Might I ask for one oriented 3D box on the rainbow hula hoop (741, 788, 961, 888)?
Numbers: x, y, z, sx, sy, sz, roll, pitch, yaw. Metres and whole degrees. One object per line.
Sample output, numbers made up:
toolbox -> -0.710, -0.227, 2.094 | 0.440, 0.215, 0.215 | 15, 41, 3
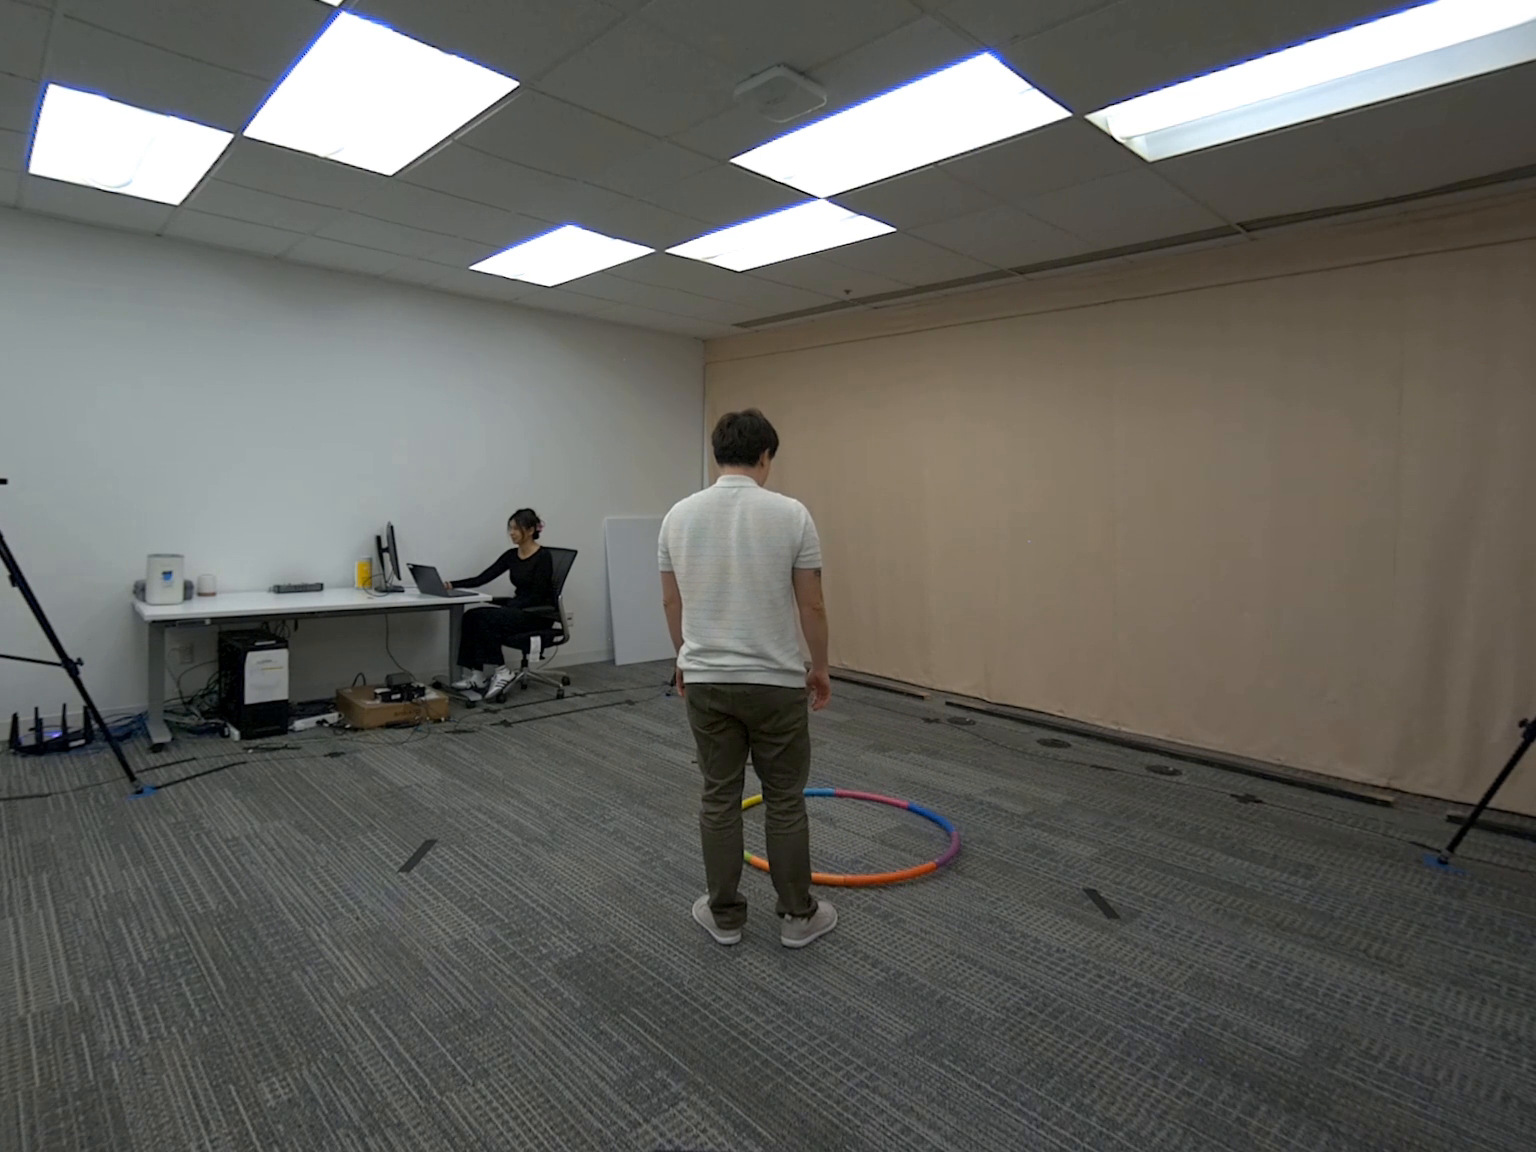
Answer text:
rainbow hula hoop -> 0.282, 1.044, 3.511 | 0.978, 0.035, 0.982 | 1, 5, -1
